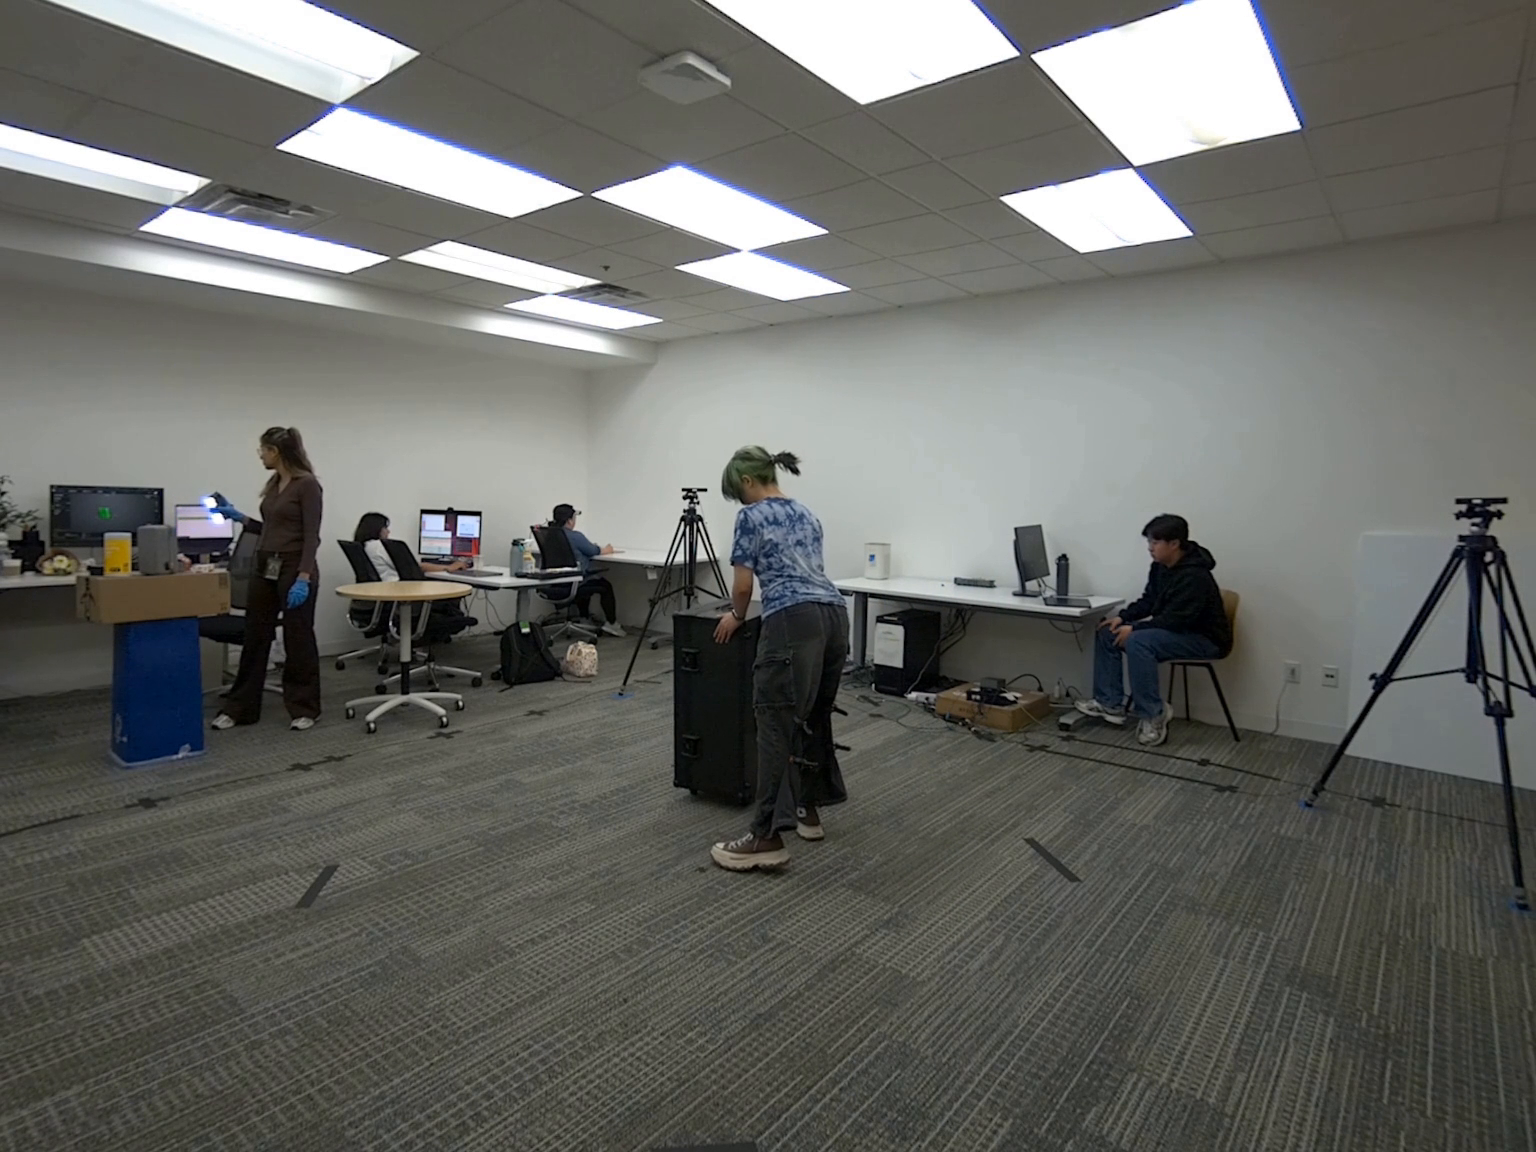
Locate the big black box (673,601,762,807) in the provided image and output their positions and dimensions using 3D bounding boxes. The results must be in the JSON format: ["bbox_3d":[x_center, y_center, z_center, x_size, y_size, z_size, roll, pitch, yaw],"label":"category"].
[{"bbox_3d":[-0.163,0.563,3.881,0.407,0.856,0.510,4,7,27],"label":"big black box"}]
